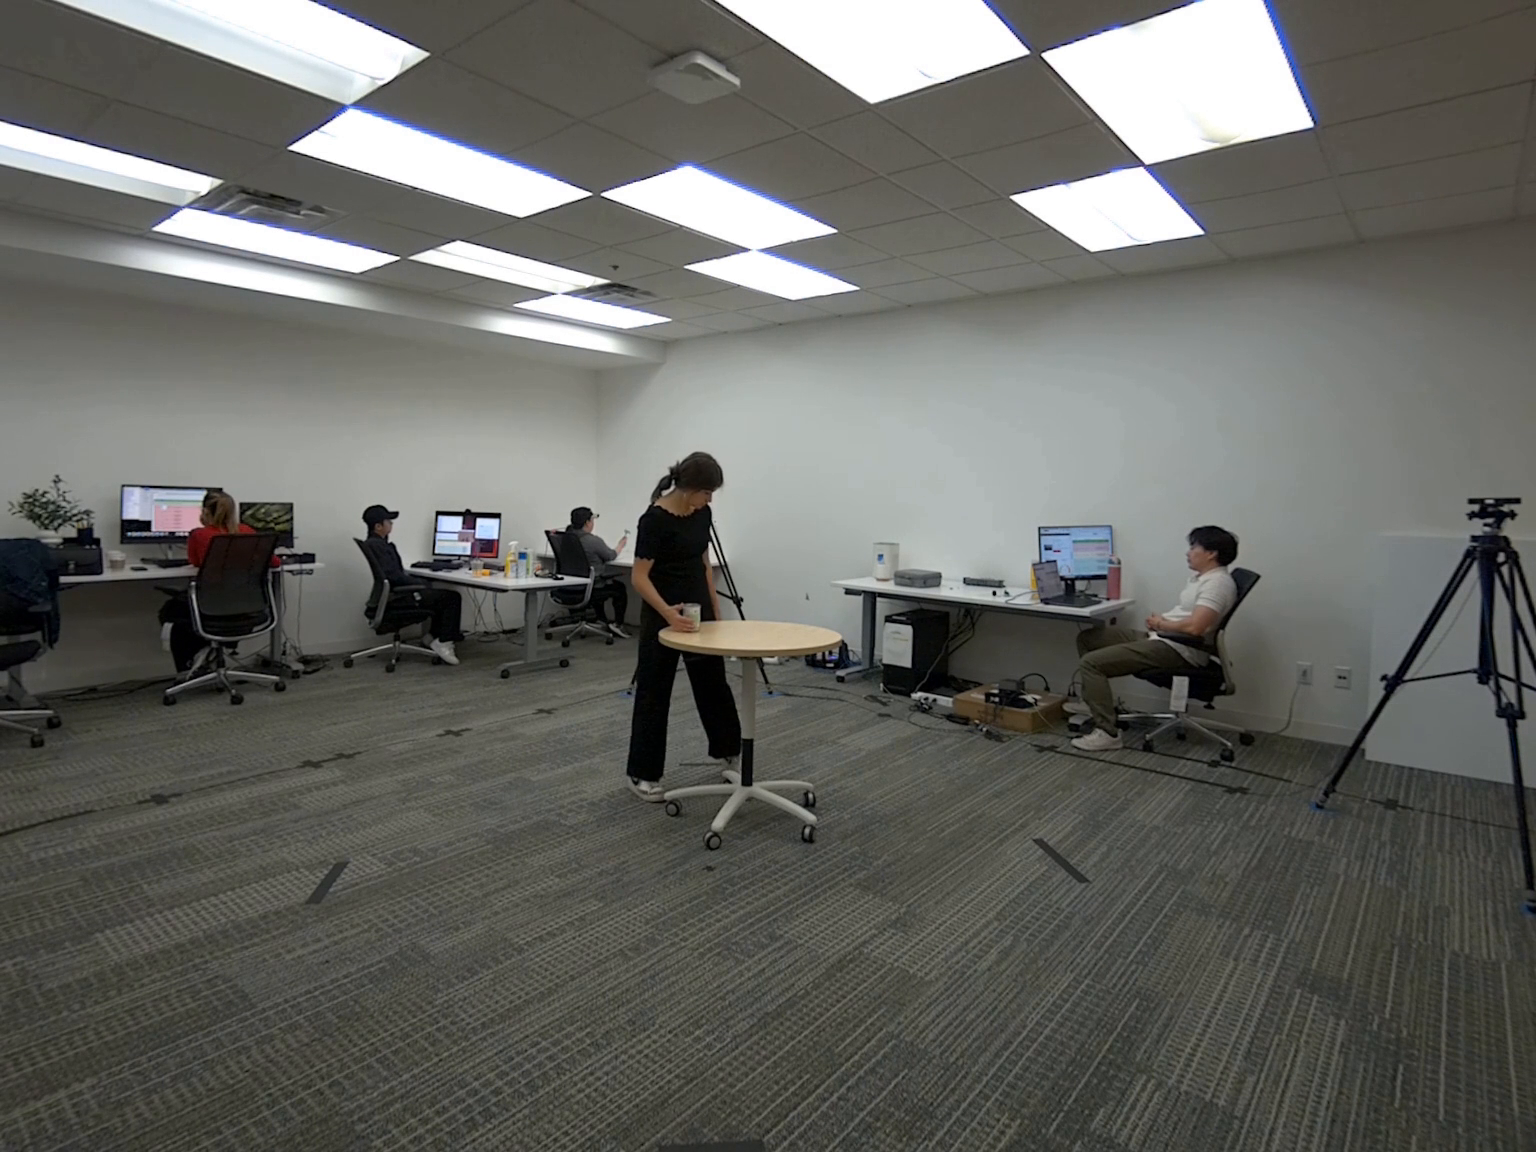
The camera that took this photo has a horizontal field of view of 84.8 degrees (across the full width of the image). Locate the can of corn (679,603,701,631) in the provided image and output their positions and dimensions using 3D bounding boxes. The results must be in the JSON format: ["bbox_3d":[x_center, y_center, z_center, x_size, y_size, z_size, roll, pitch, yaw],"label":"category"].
[{"bbox_3d":[-0.344,0.176,3.618,0.074,0.110,0.074,-3,4,-2],"label":"can of corn"}]
